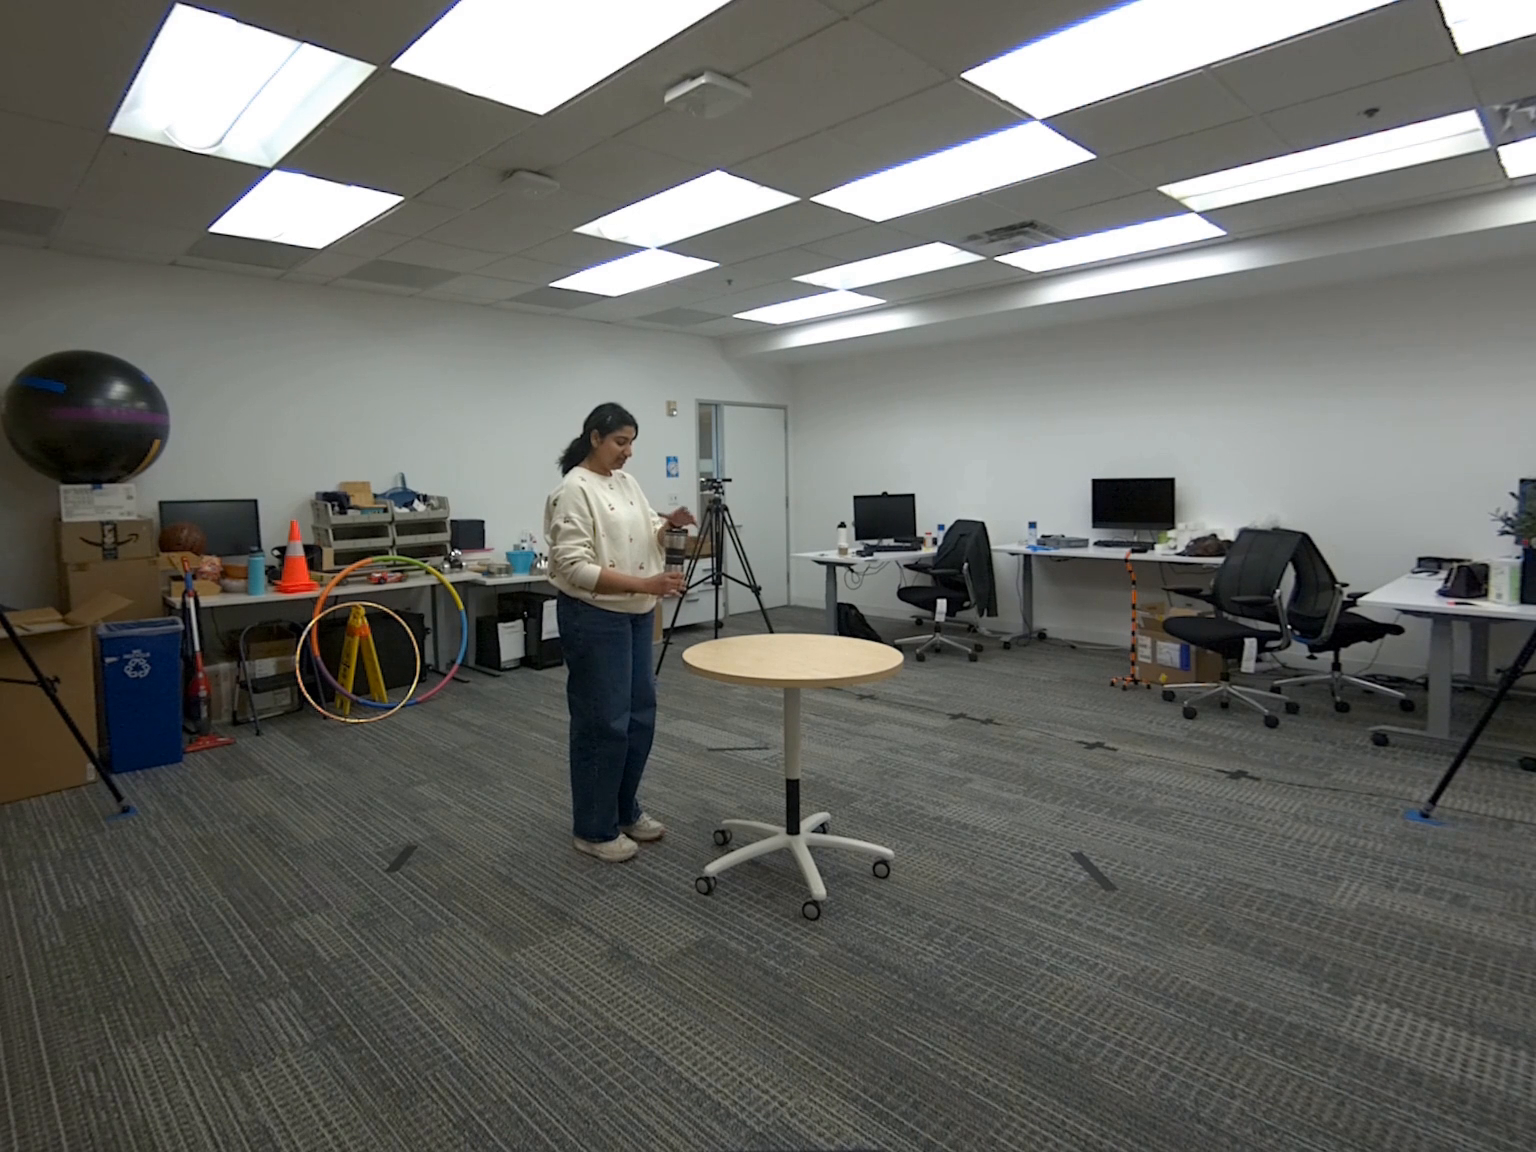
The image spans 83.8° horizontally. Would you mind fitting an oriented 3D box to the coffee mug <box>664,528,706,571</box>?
[{"bbox_3d":[-0.332,-0.069,3.131,0.090,0.202,0.118,3,4,42],"label":"coffee mug"}]
